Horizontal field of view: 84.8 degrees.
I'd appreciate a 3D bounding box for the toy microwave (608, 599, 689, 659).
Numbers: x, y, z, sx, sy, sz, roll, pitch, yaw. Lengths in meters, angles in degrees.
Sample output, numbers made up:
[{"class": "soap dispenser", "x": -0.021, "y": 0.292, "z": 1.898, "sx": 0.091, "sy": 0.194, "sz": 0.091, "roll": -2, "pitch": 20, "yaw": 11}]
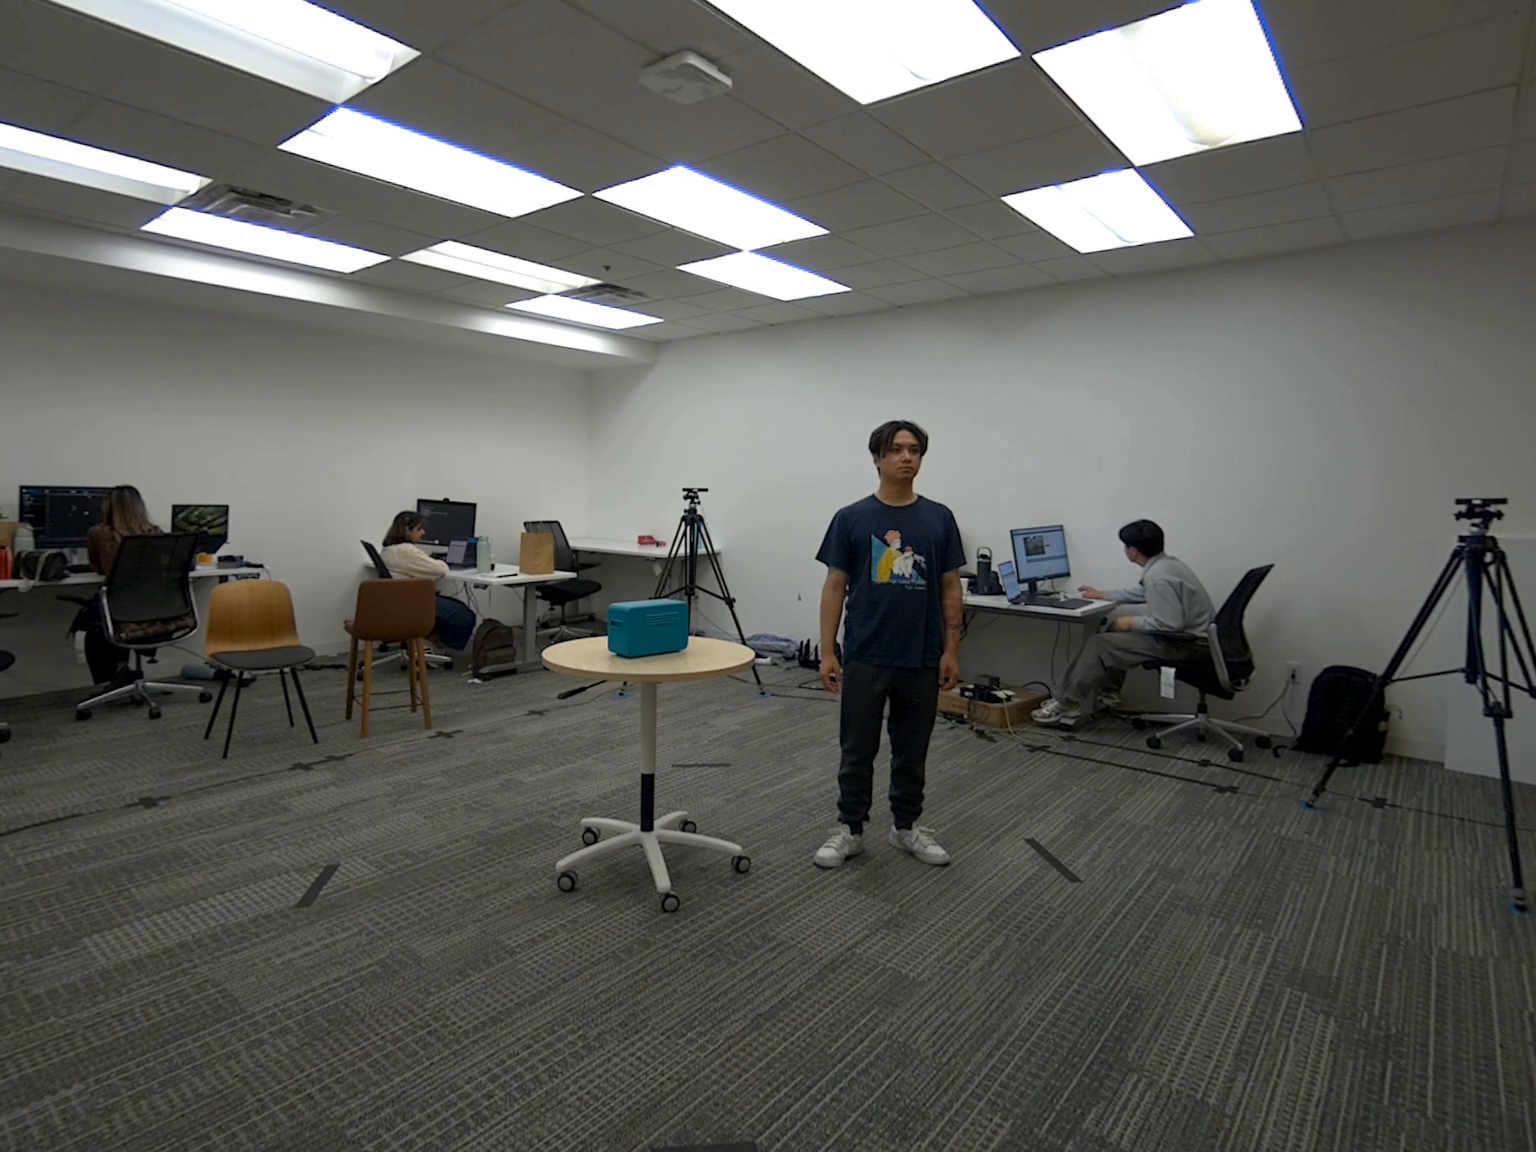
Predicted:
[{"class": "toy microwave", "x": -0.453, "y": 0.184, "z": 3.067, "sx": 0.277, "sy": 0.183, "sz": 0.157, "roll": -3, "pitch": 5, "yaw": -43}]
